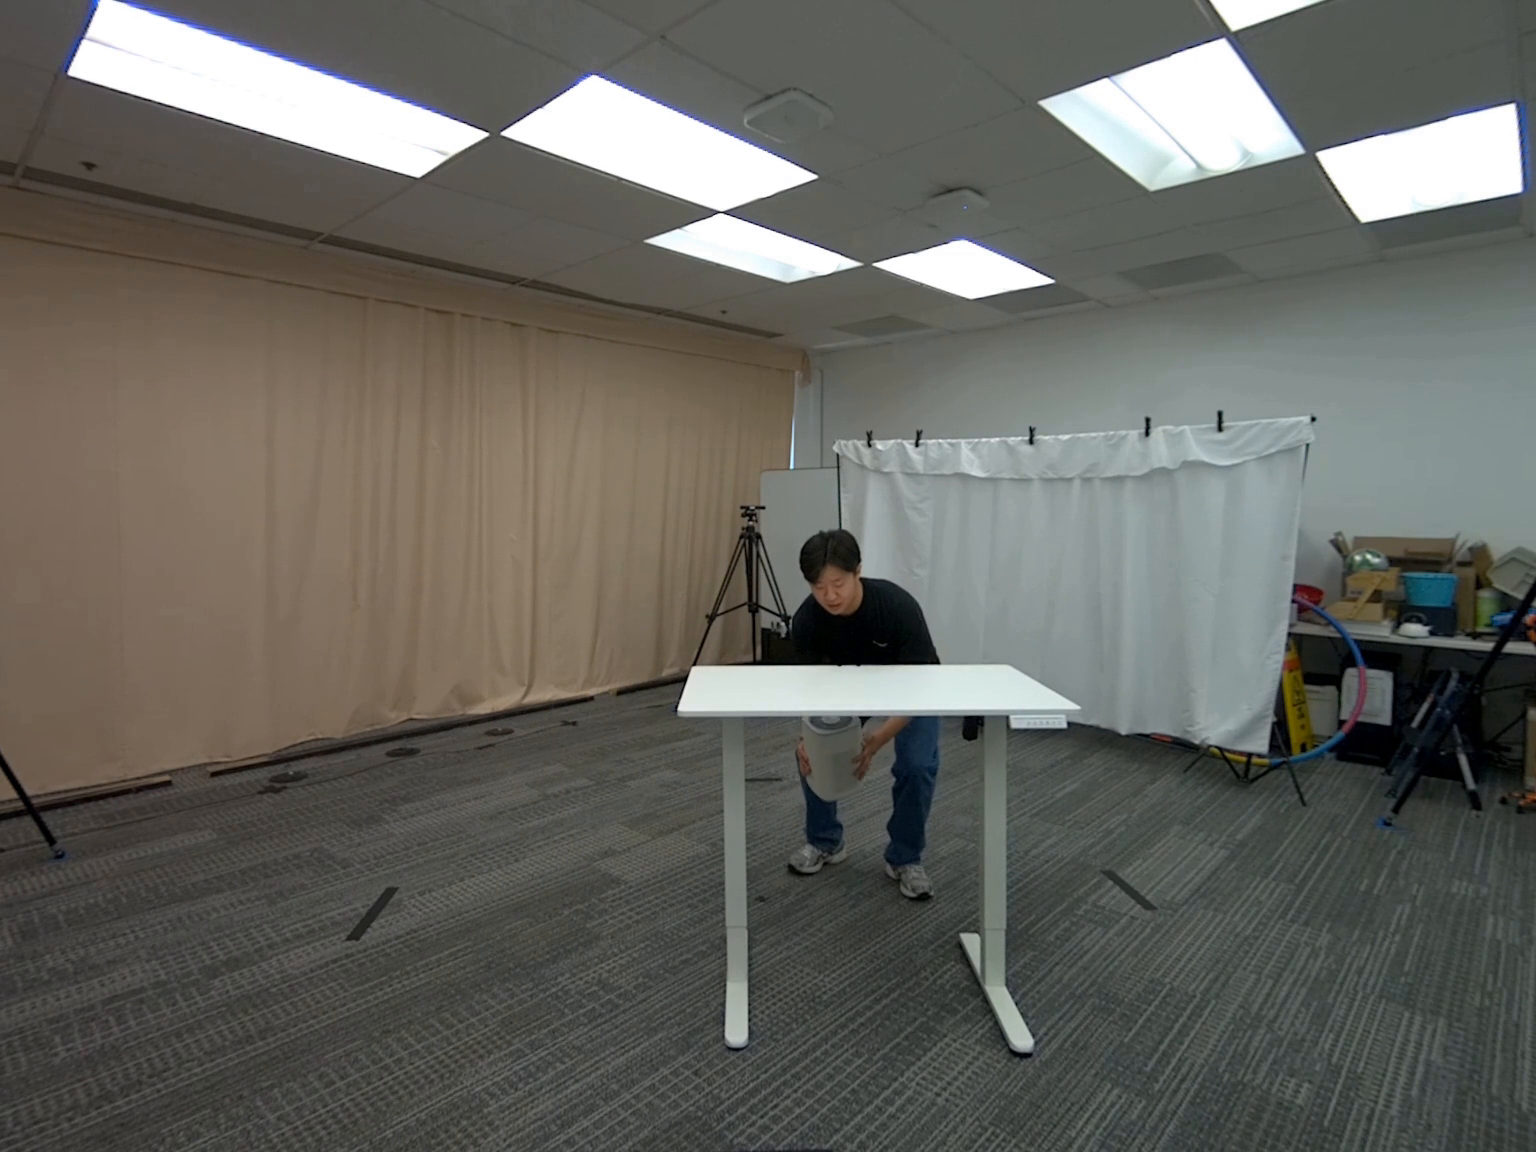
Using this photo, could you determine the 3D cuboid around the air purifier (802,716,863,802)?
[{"bbox_3d":[0.221,0.586,2.803,0.169,0.262,0.175,-11,18,-15],"label":"air purifier"}]
